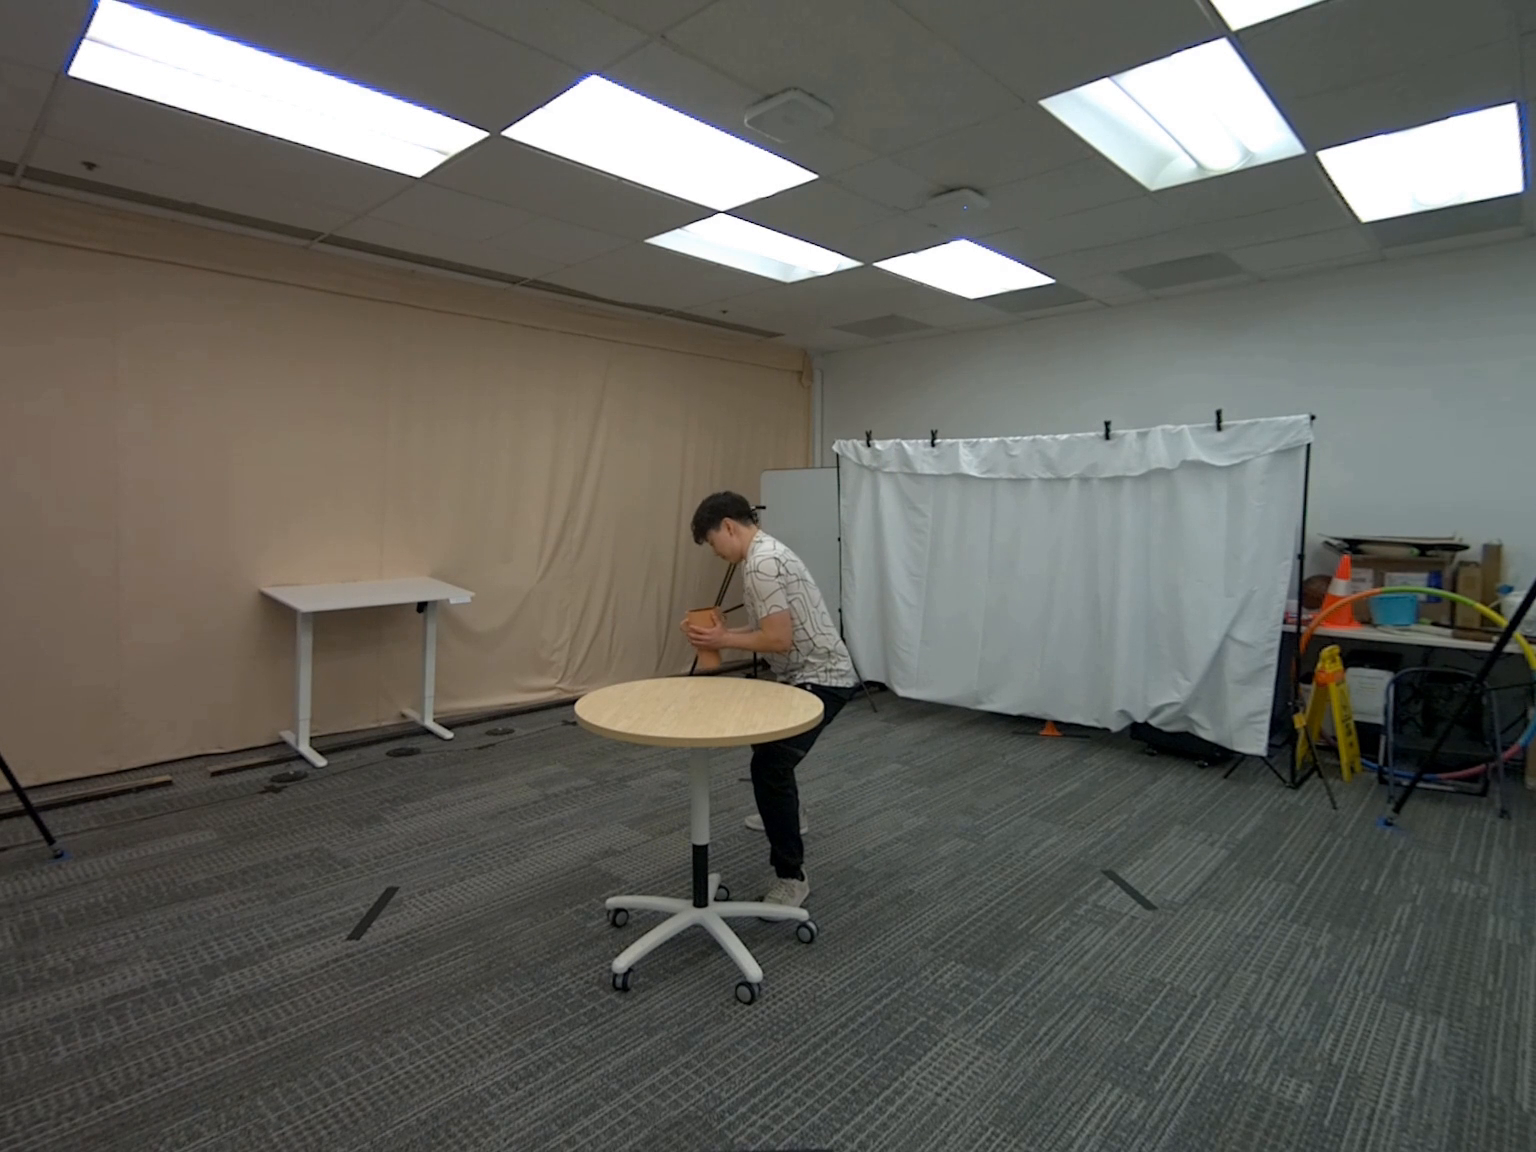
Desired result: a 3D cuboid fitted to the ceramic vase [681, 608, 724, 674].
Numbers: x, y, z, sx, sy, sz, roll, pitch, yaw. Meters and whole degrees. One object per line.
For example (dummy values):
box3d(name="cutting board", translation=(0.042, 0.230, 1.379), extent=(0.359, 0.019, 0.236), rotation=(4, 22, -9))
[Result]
box3d(name="ceramic vase", translation=(-0.233, 0.241, 3.202), extent=(0.161, 0.219, 0.133), rotation=(-7, 3, 12))
